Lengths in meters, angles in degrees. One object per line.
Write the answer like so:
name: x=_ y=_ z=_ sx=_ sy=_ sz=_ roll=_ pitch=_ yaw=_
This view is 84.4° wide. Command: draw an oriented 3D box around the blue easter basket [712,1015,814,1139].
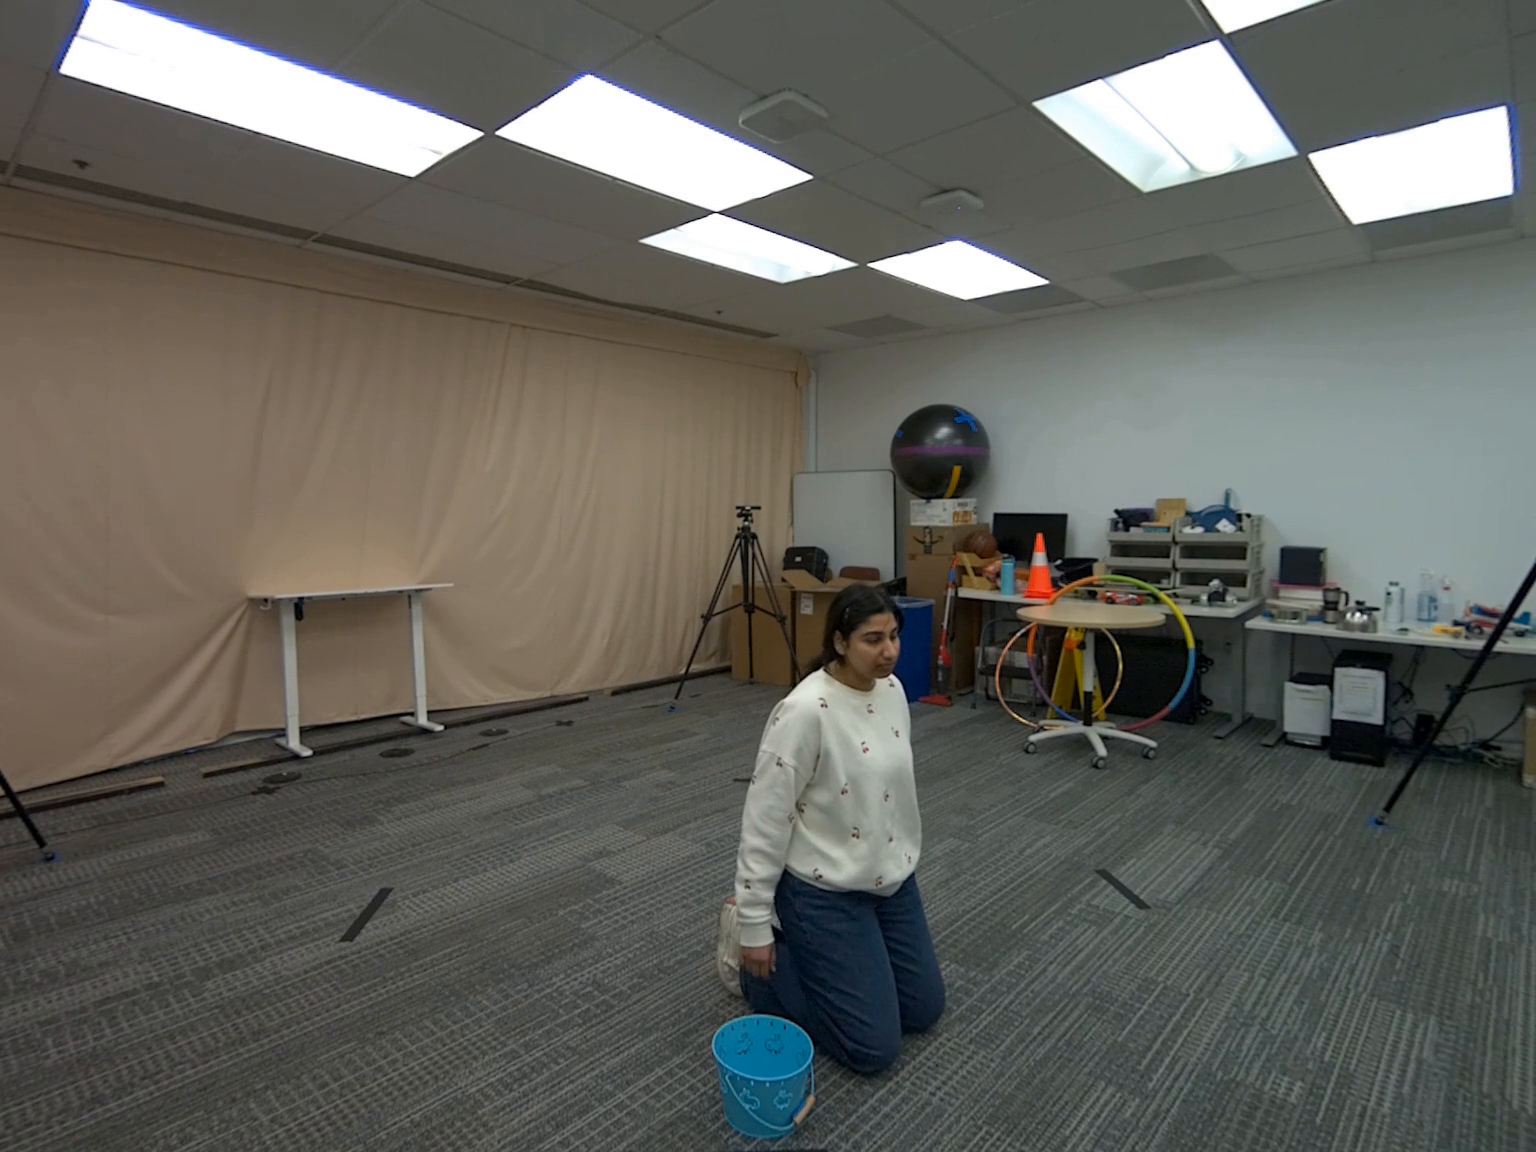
blue easter basket: x=-0.016 y=1.152 z=1.950 sx=0.243 sy=0.155 sz=0.244 roll=0 pitch=4 yaw=-2
